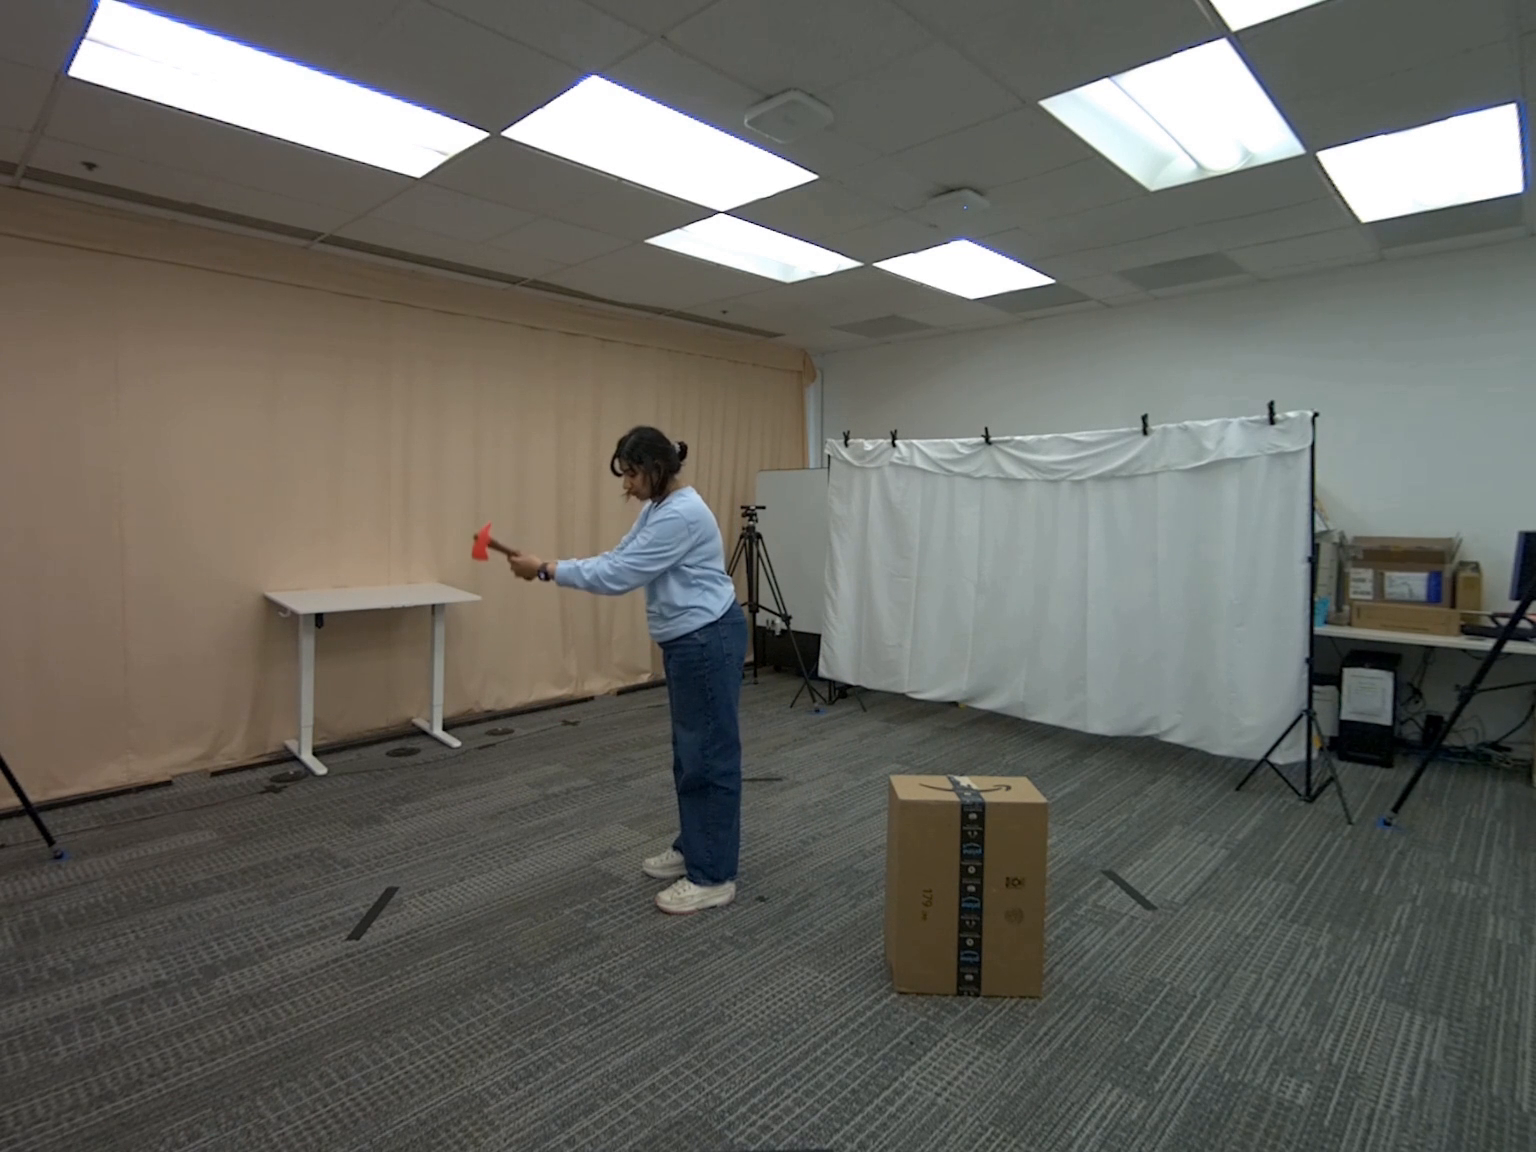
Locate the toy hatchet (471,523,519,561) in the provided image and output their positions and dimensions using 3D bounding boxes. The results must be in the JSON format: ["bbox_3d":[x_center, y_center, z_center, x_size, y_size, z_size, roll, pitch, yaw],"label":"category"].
[{"bbox_3d":[-0.910,-0.064,2.916,0.031,0.130,0.261,18,-28,42],"label":"toy hatchet"}]
